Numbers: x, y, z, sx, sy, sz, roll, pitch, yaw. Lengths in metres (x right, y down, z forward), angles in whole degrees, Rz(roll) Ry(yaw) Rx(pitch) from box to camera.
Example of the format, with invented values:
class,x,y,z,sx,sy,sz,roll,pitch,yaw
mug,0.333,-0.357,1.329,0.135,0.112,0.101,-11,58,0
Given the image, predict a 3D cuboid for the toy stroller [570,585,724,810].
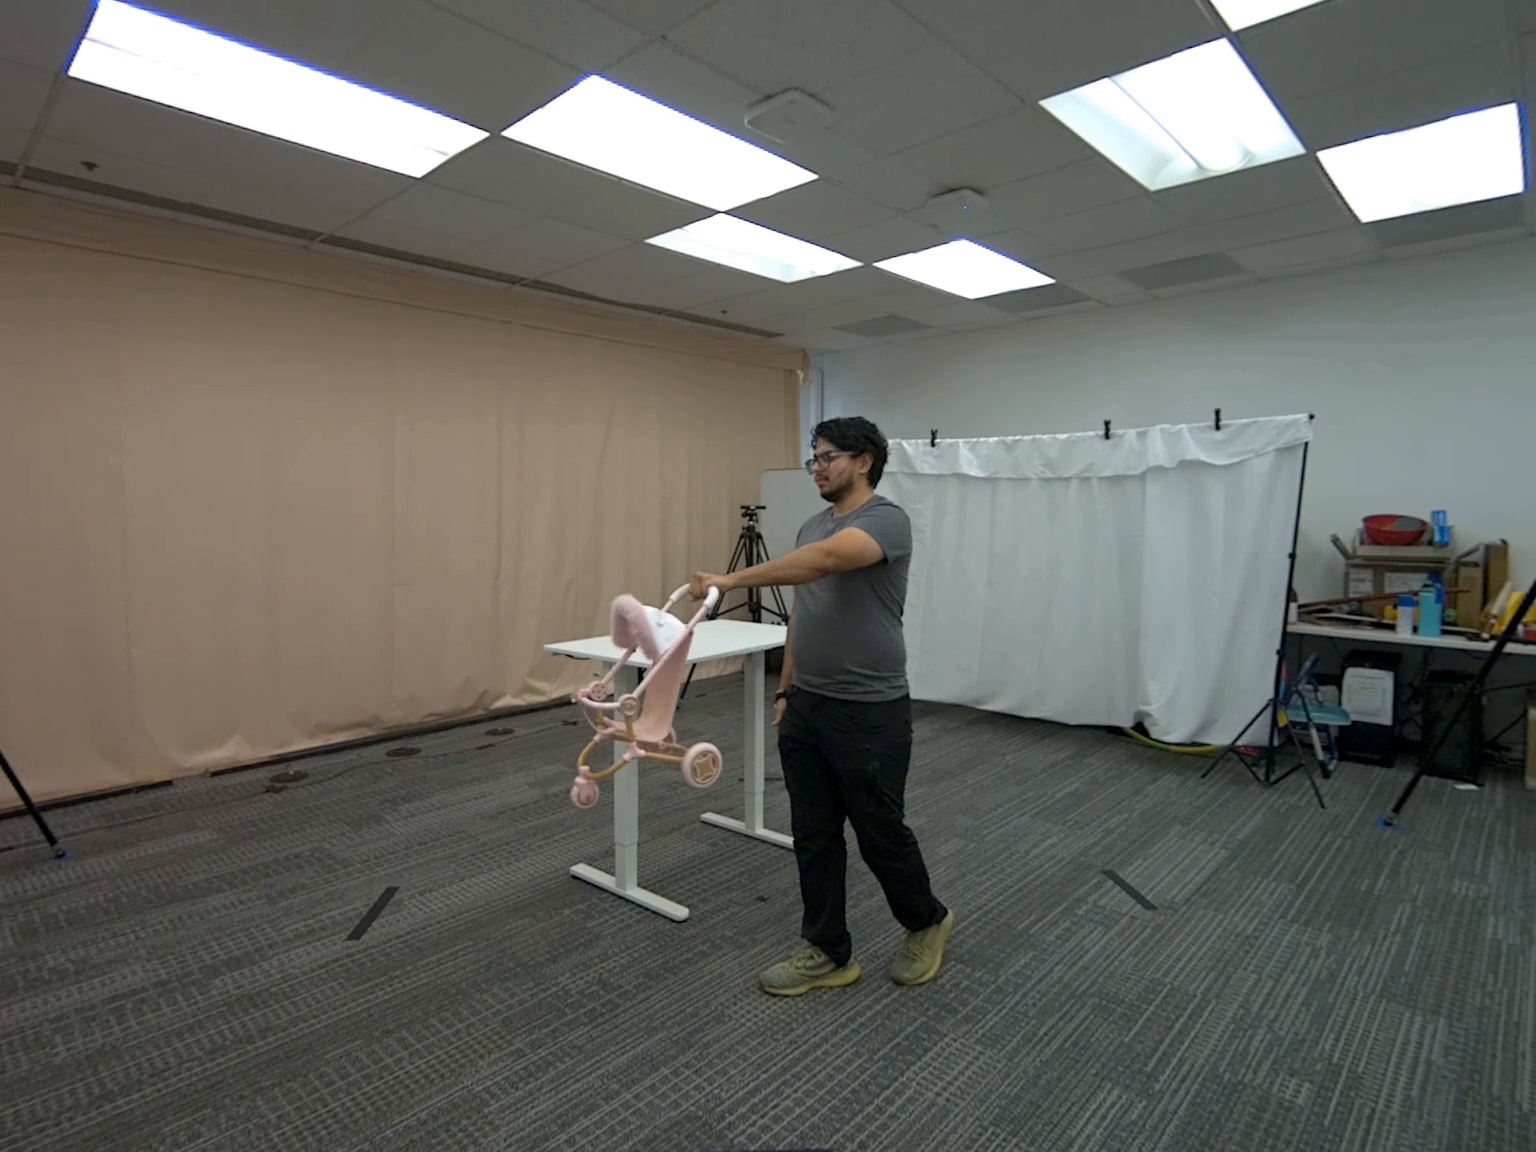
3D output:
class,x,y,z,sx,sy,sz,roll,pitch,yaw
toy stroller,-0.303,0.285,2.045,0.332,0.534,0.289,3,2,-27
